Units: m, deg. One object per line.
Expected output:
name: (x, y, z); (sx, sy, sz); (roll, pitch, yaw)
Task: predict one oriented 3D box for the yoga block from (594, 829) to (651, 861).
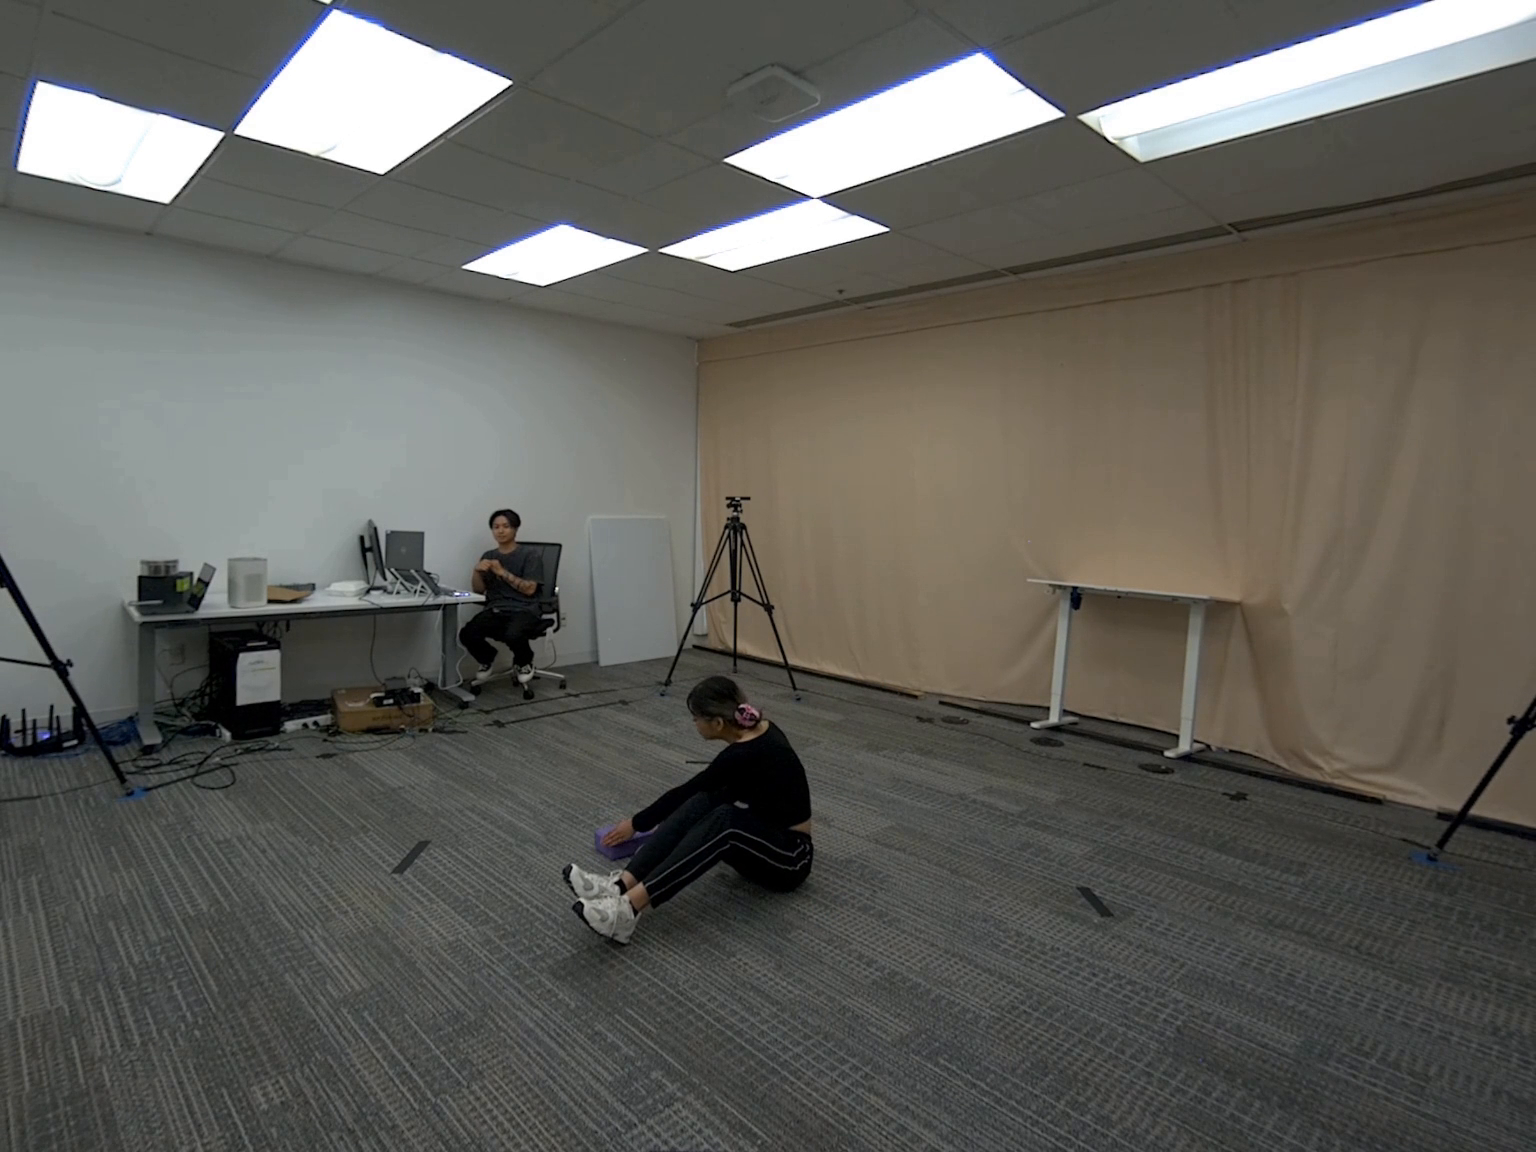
yoga block: (-0.554, 1.030, 3.328); (0.224, 0.076, 0.153); (-4, 6, -38)
